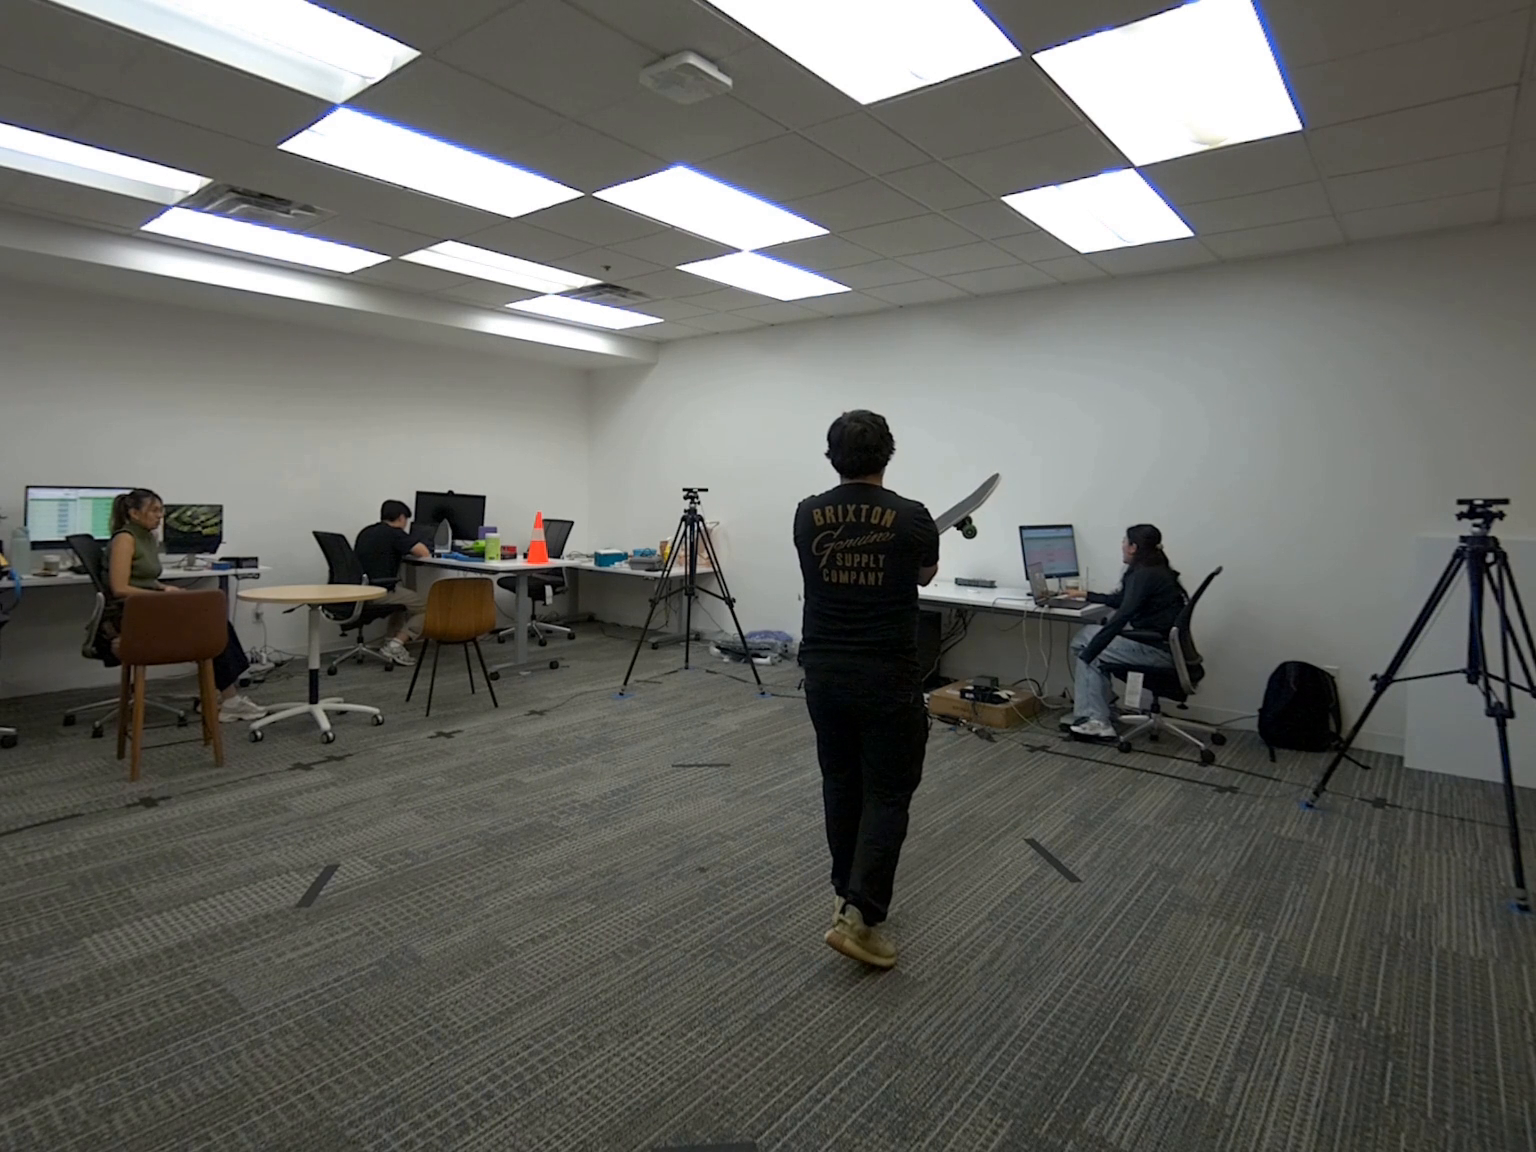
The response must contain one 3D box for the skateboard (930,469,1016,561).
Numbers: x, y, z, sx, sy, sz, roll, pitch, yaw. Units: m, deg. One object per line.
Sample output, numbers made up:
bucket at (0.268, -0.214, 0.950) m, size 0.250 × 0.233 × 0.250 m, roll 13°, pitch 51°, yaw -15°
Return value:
skateboard at (0.514, -0.080, 3.033) m, size 0.788 × 0.109 × 0.194 m, roll -38°, pitch 7°, yaw 18°
